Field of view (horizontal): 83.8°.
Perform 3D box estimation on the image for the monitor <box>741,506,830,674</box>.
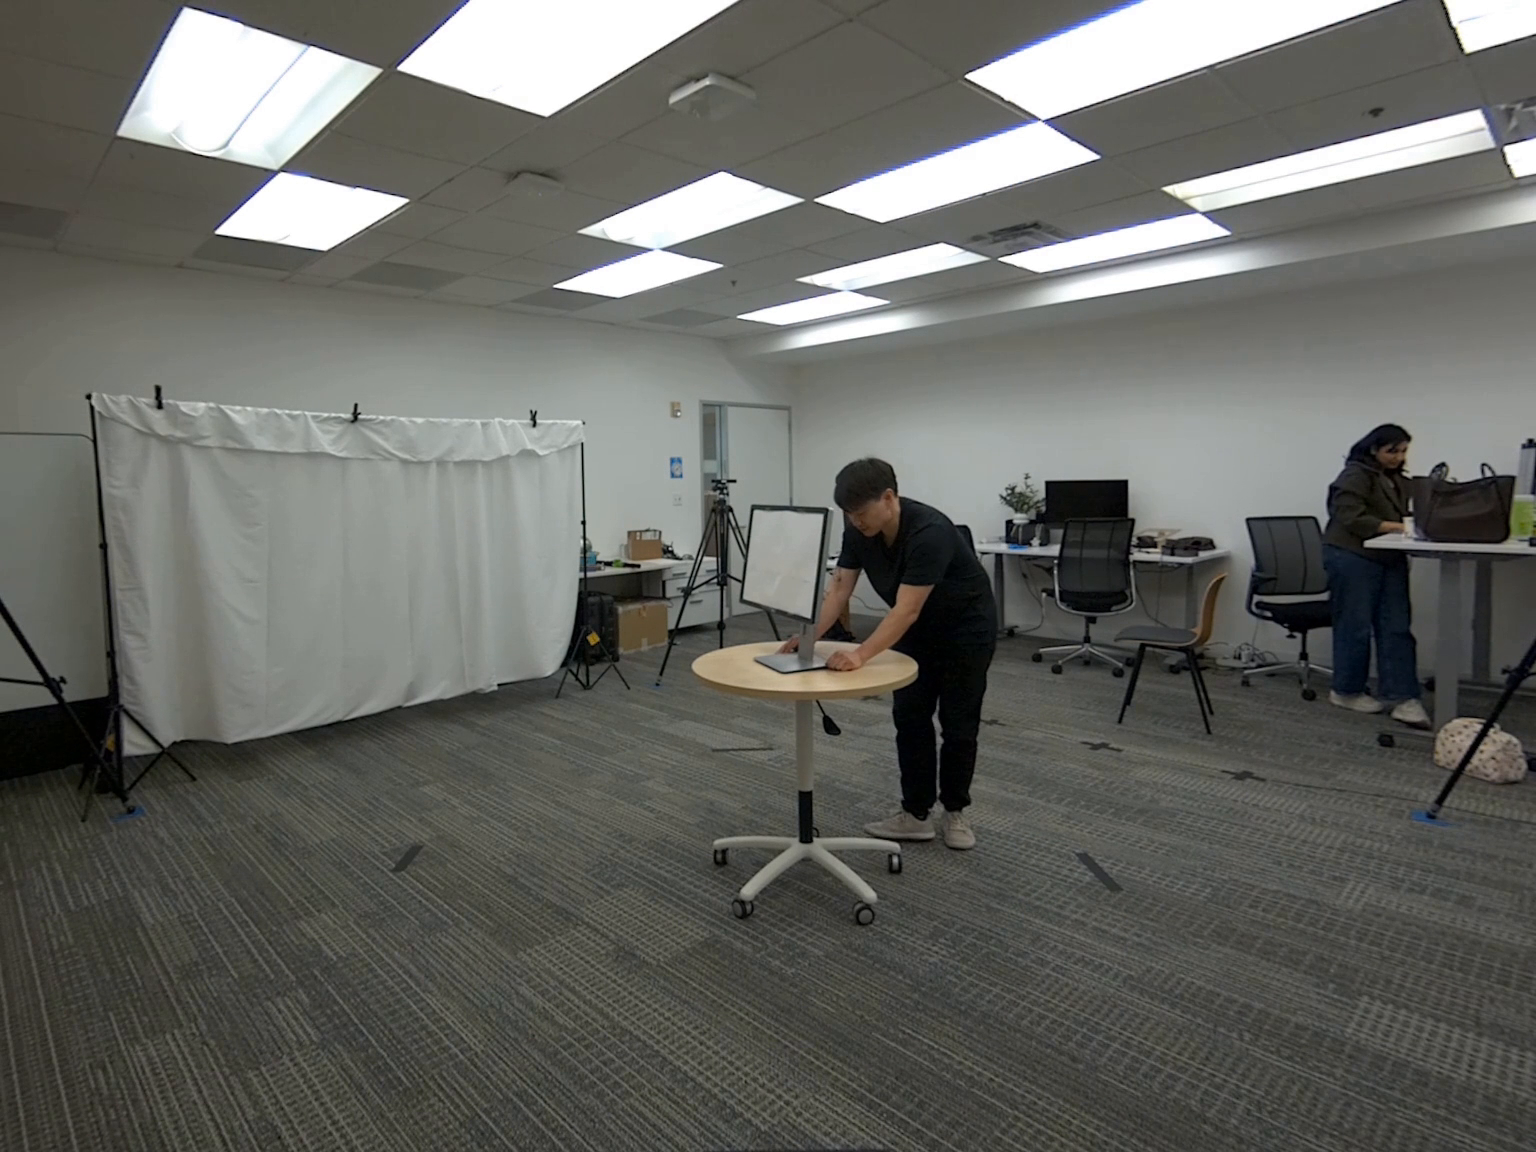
[{"bbox_3d":[0.085,0.036,2.897,0.183,0.520,0.553,-5,6,-26],"label":"monitor"}]
